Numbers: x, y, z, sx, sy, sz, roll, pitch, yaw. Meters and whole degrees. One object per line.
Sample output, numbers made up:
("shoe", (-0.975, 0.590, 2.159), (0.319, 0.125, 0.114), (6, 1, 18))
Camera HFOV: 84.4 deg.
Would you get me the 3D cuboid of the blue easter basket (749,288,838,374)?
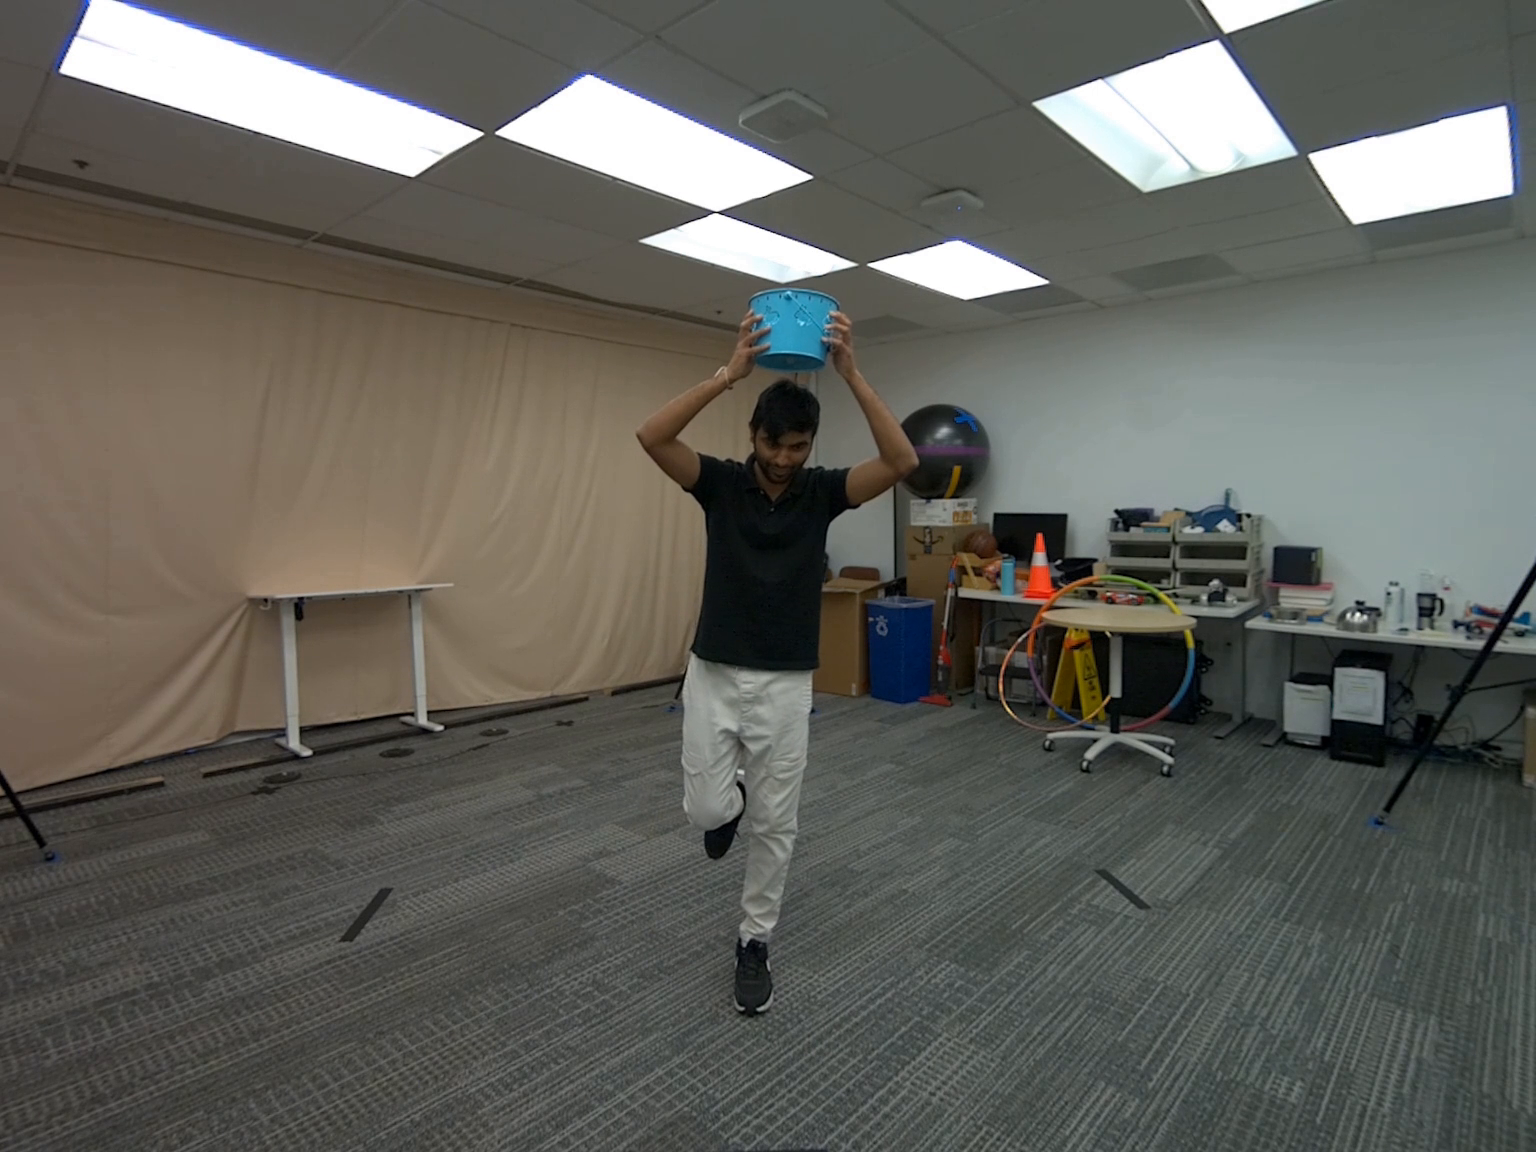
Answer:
("blue easter basket", (0.074, -0.619, 2.132), (0.243, 0.156, 0.244), (4, 1, -2))
